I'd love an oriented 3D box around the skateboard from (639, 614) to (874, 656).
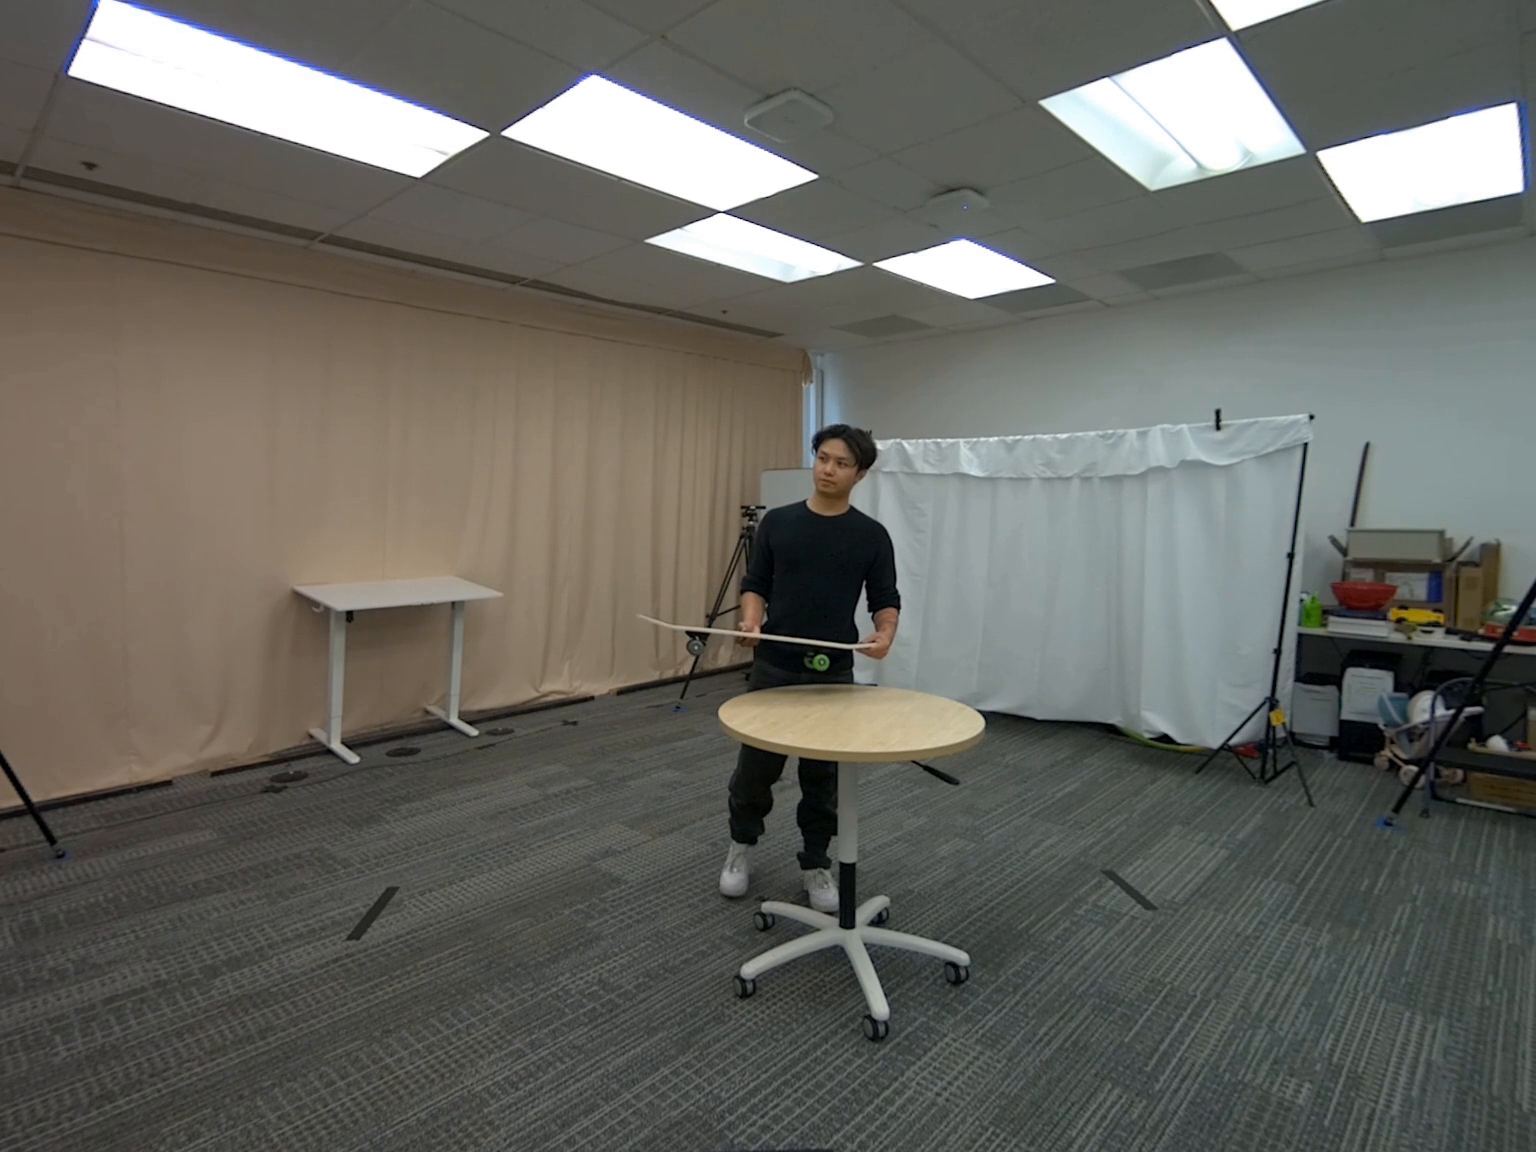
[{"bbox_3d":[-0.037,0.234,2.711,0.784,0.110,0.193,7,-5,-1],"label":"skateboard"}]
